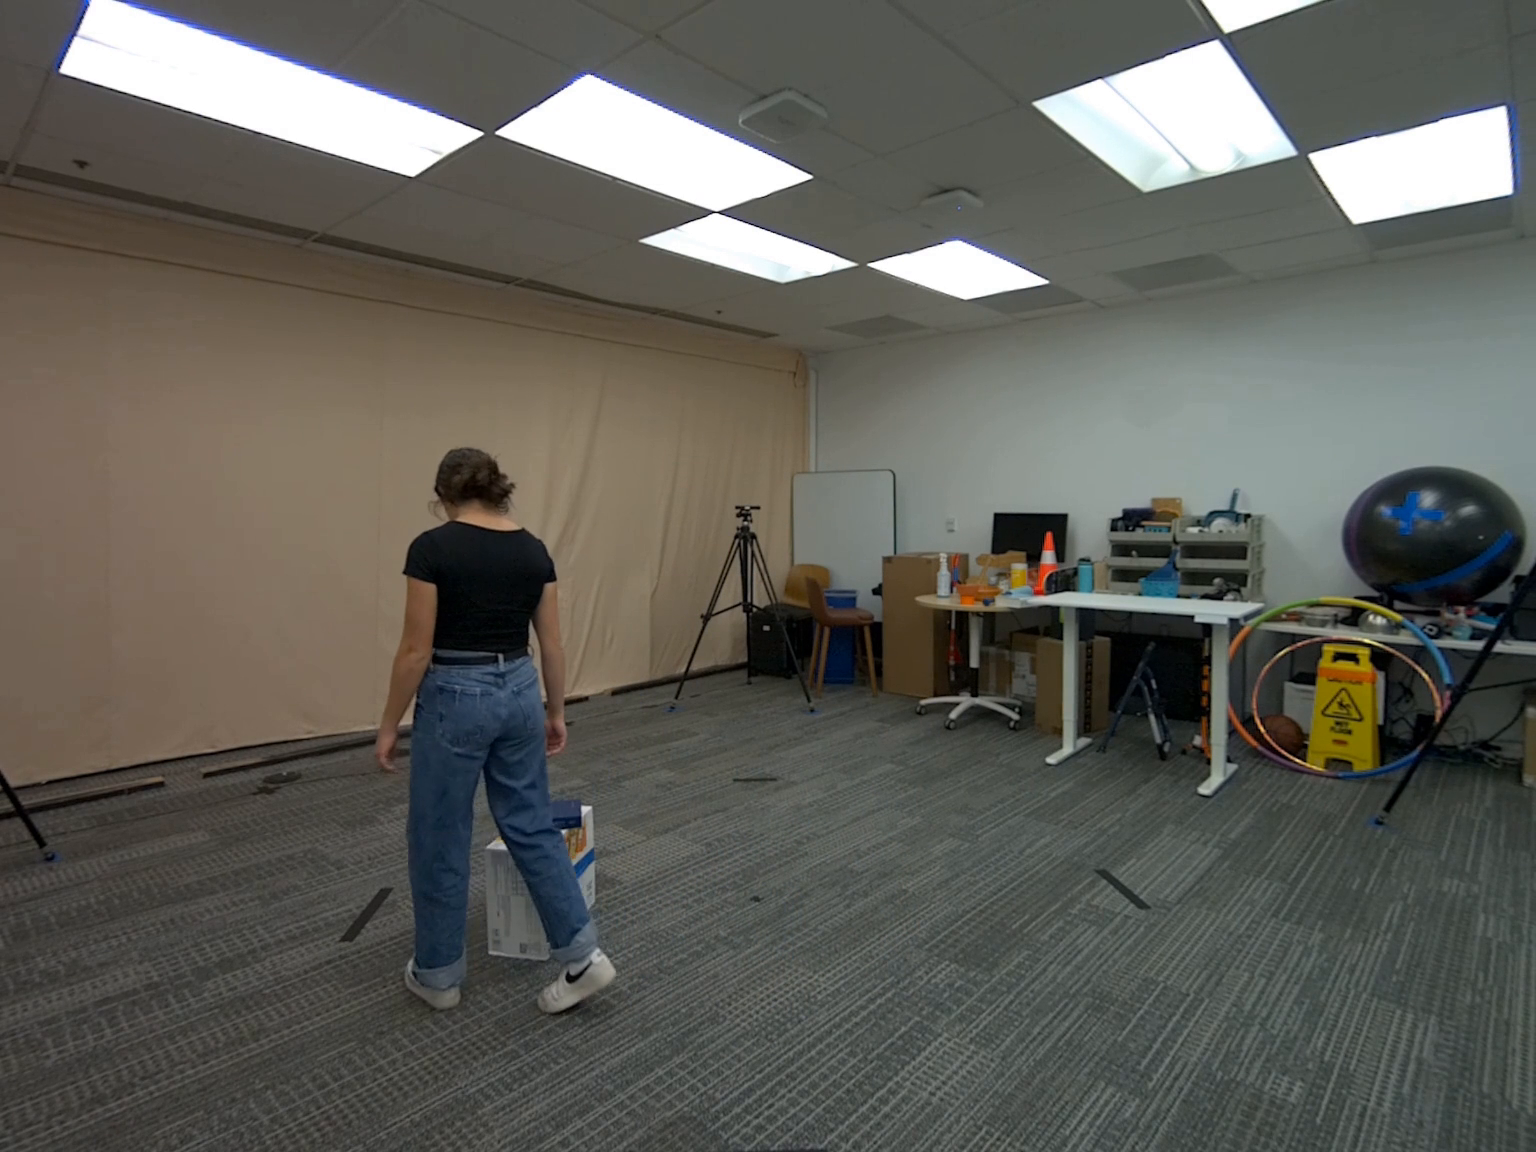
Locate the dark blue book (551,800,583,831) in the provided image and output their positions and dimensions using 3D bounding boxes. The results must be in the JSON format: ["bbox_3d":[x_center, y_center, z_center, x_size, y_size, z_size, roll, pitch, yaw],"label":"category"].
[{"bbox_3d":[-0.754,0.799,2.823,0.243,0.045,0.165,-1,4,-10],"label":"dark blue book"}]
